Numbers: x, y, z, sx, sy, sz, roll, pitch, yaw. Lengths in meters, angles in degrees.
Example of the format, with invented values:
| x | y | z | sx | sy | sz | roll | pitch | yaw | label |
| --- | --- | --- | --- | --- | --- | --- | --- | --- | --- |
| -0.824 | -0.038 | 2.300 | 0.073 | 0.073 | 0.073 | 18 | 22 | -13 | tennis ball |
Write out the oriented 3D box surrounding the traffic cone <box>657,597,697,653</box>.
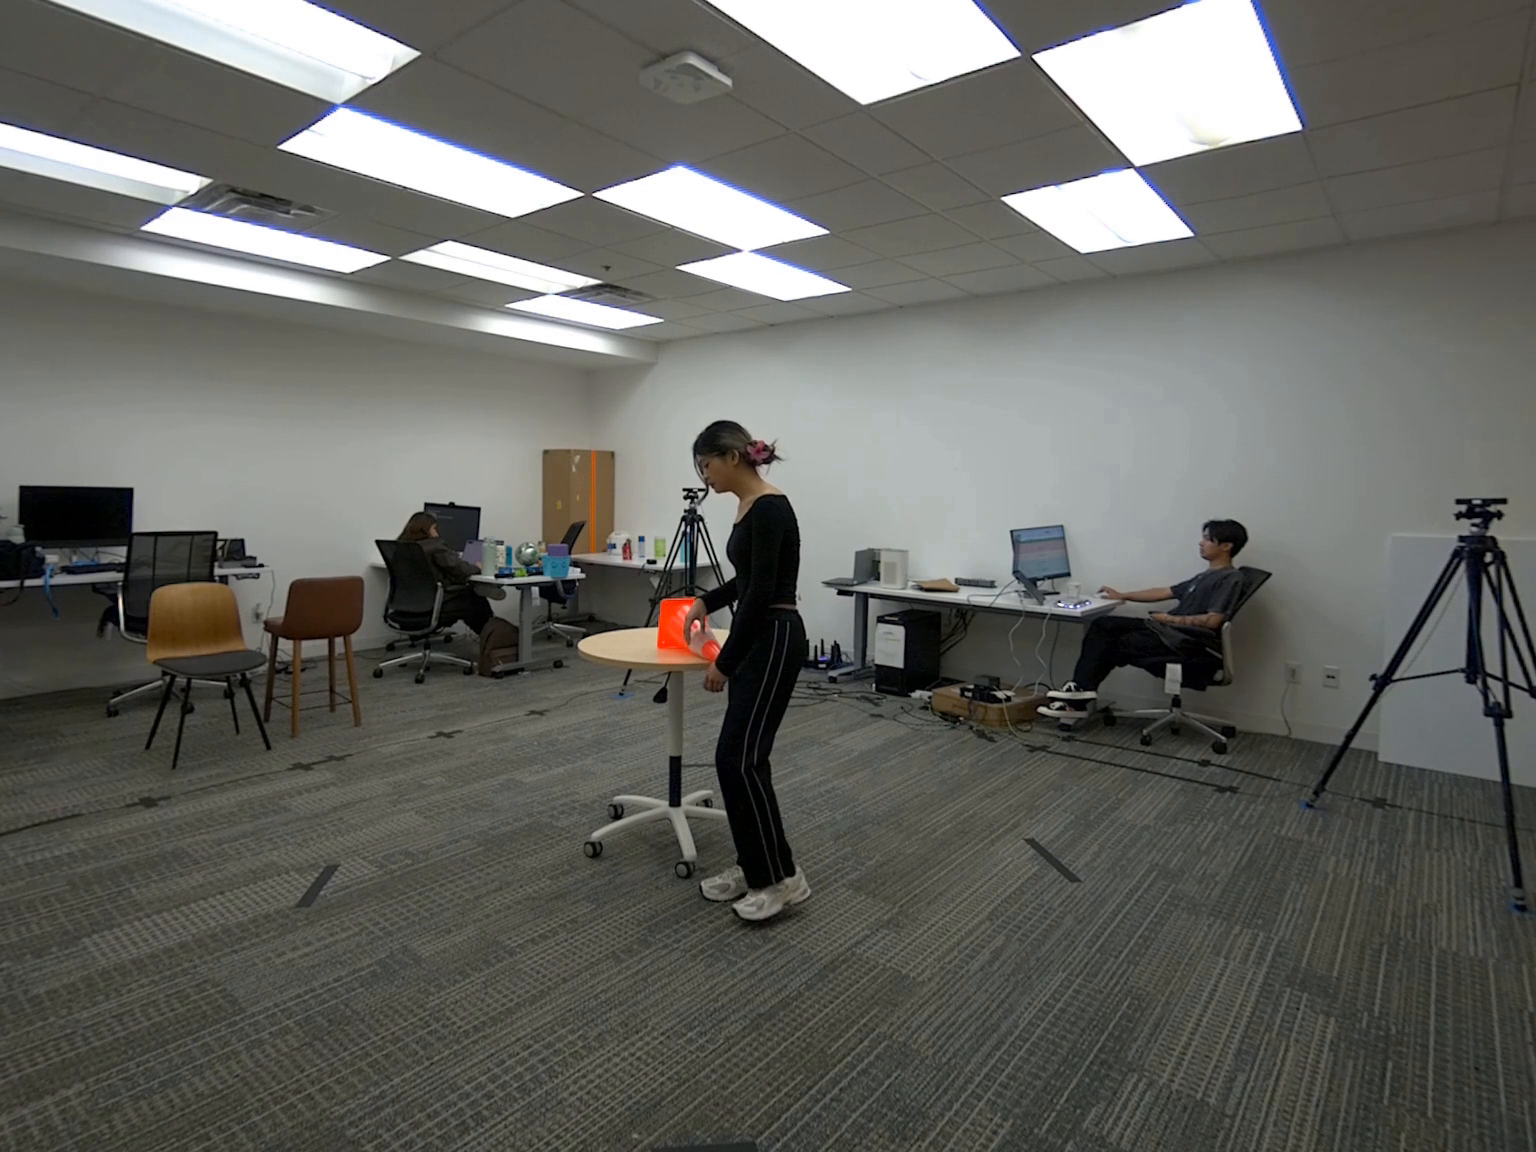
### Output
| x | y | z | sx | sy | sz | roll | pitch | yaw | label |
| --- | --- | --- | --- | --- | --- | --- | --- | --- | --- |
| -0.253 | 0.237 | 3.070 | 0.201 | 0.200 | 0.397 | -3 | 19 | -21 | traffic cone |
